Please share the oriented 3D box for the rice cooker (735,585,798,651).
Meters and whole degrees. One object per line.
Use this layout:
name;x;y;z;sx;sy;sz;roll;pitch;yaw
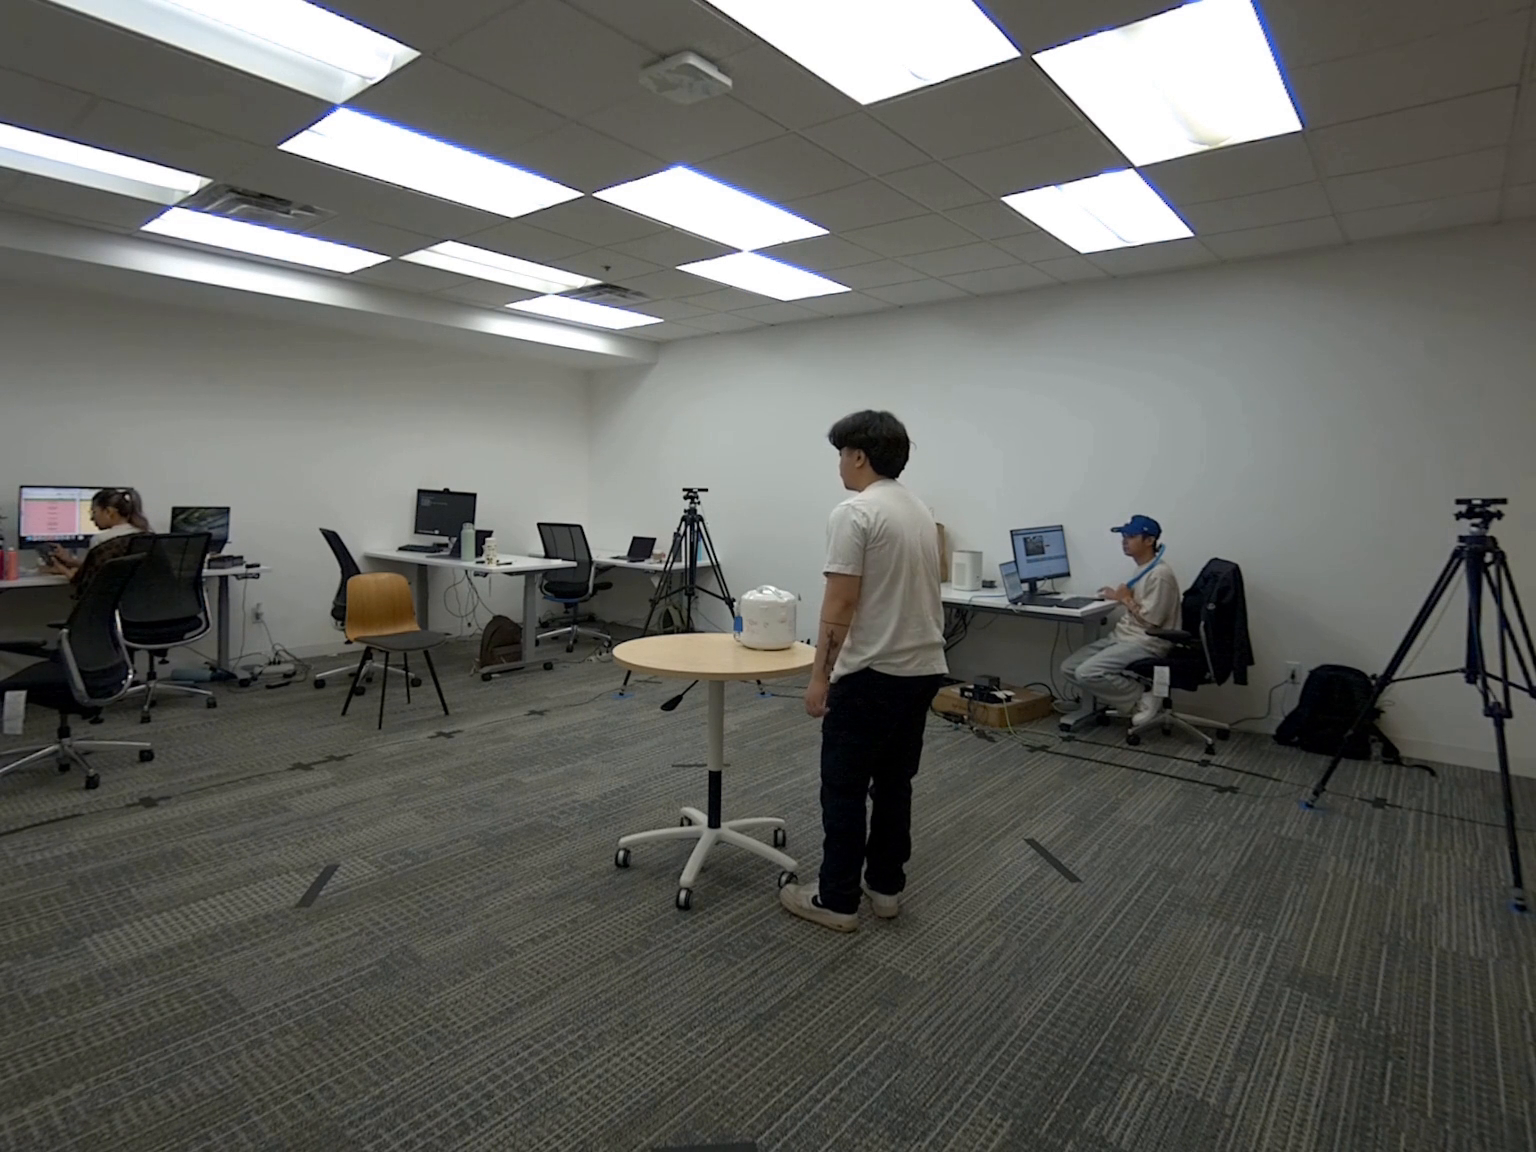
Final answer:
rice cooker;-0.010;0.149;3.219;0.212;0.232;0.227;-2;5;-27
